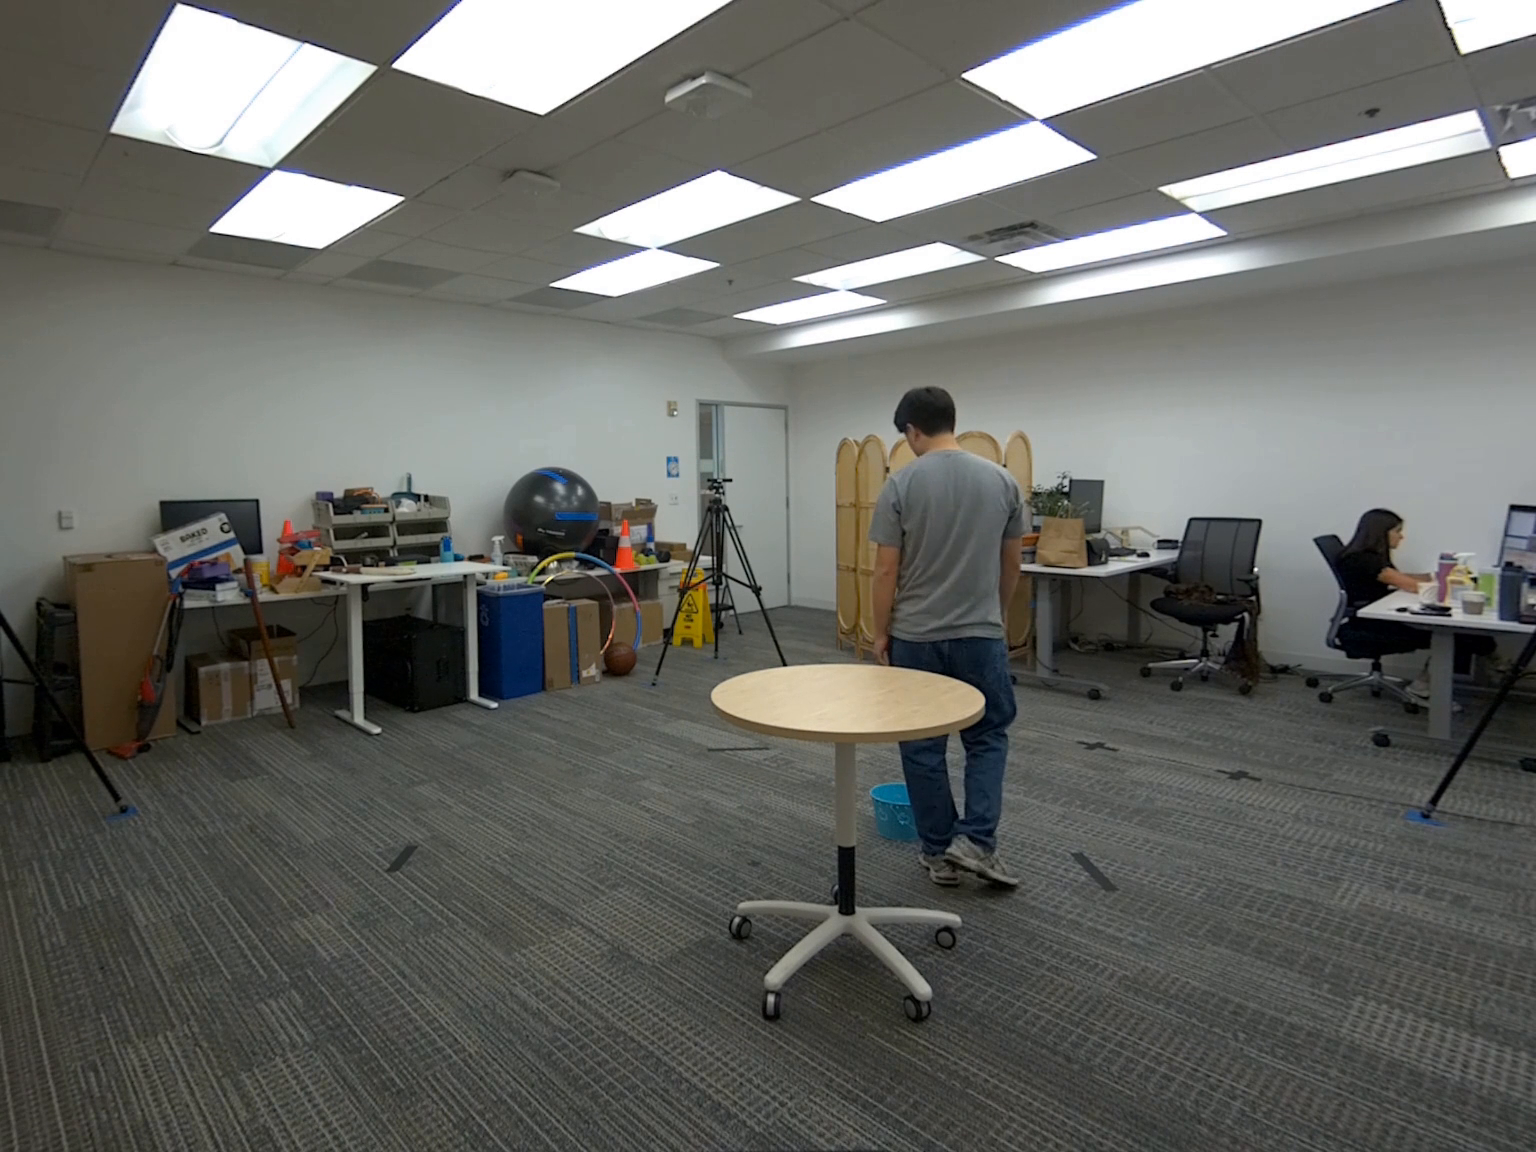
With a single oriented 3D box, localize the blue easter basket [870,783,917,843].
[{"bbox_3d":[0.528,0.930,3.356,0.243,0.155,0.245,-2,4,-2],"label":"blue easter basket"}]
